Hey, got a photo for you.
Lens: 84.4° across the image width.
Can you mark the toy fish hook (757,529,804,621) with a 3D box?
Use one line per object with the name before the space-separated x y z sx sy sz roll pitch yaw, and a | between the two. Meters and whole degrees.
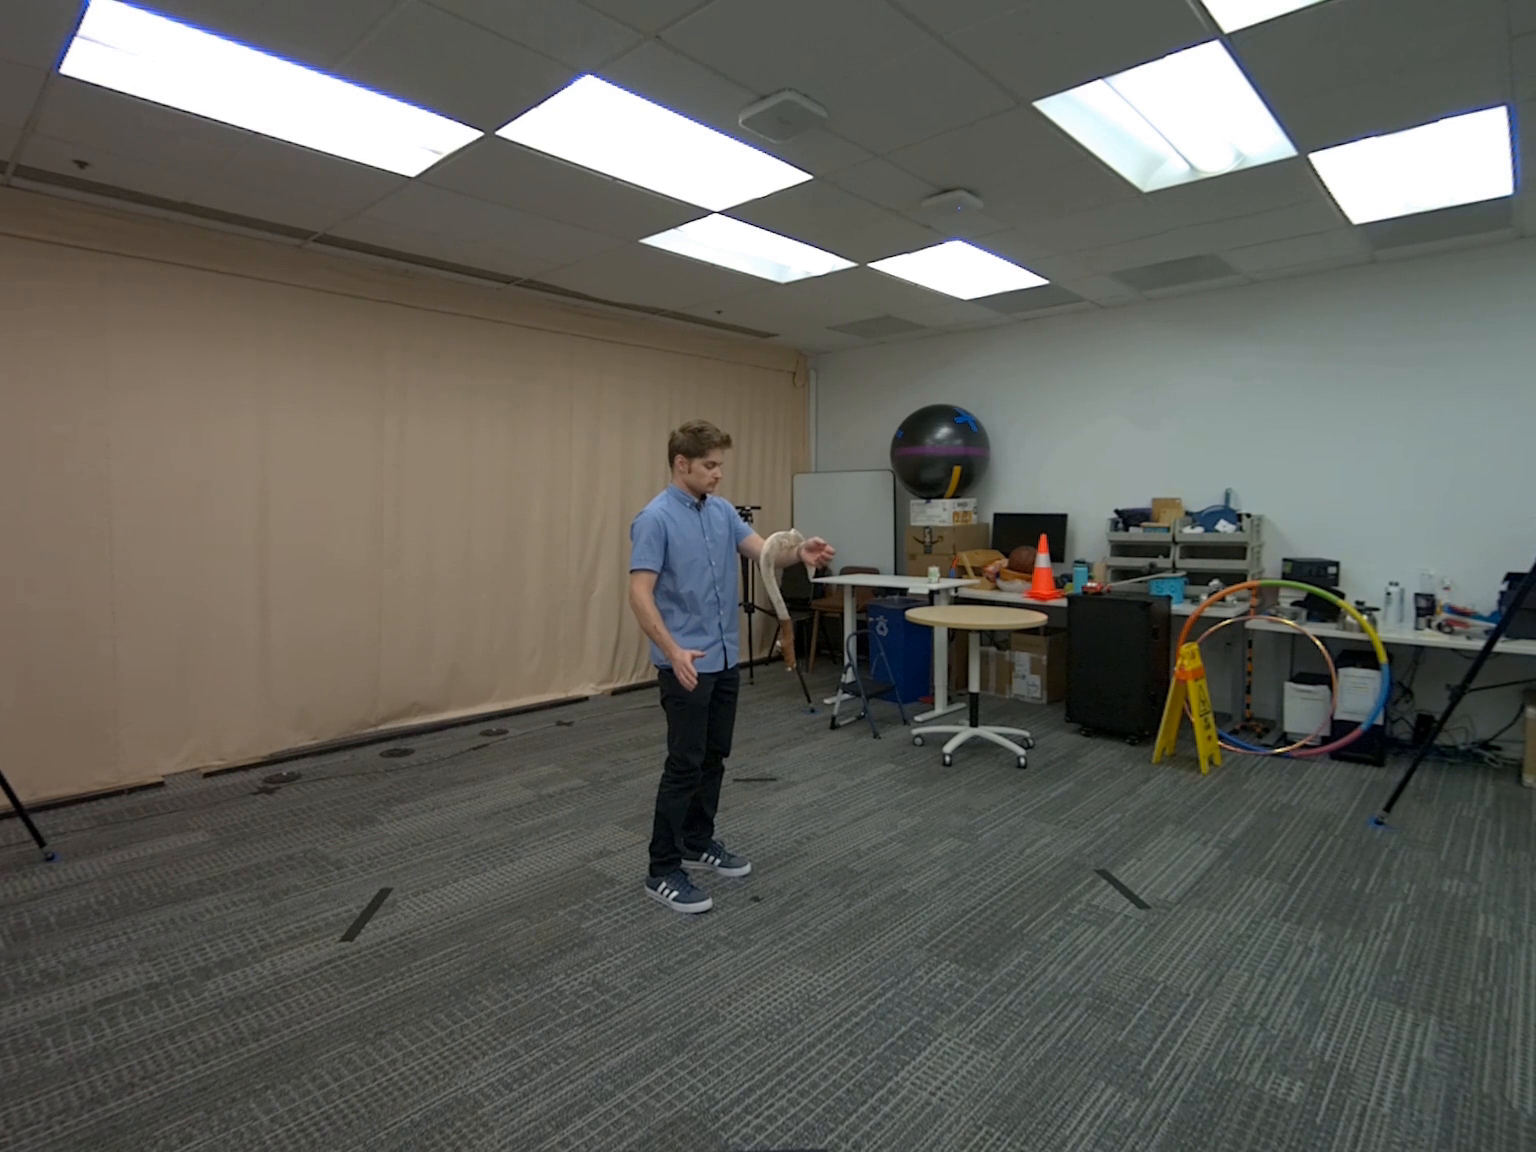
toy fish hook | 0.104 0.092 3.014 0.221 0.502 0.049 -12 11 -17
